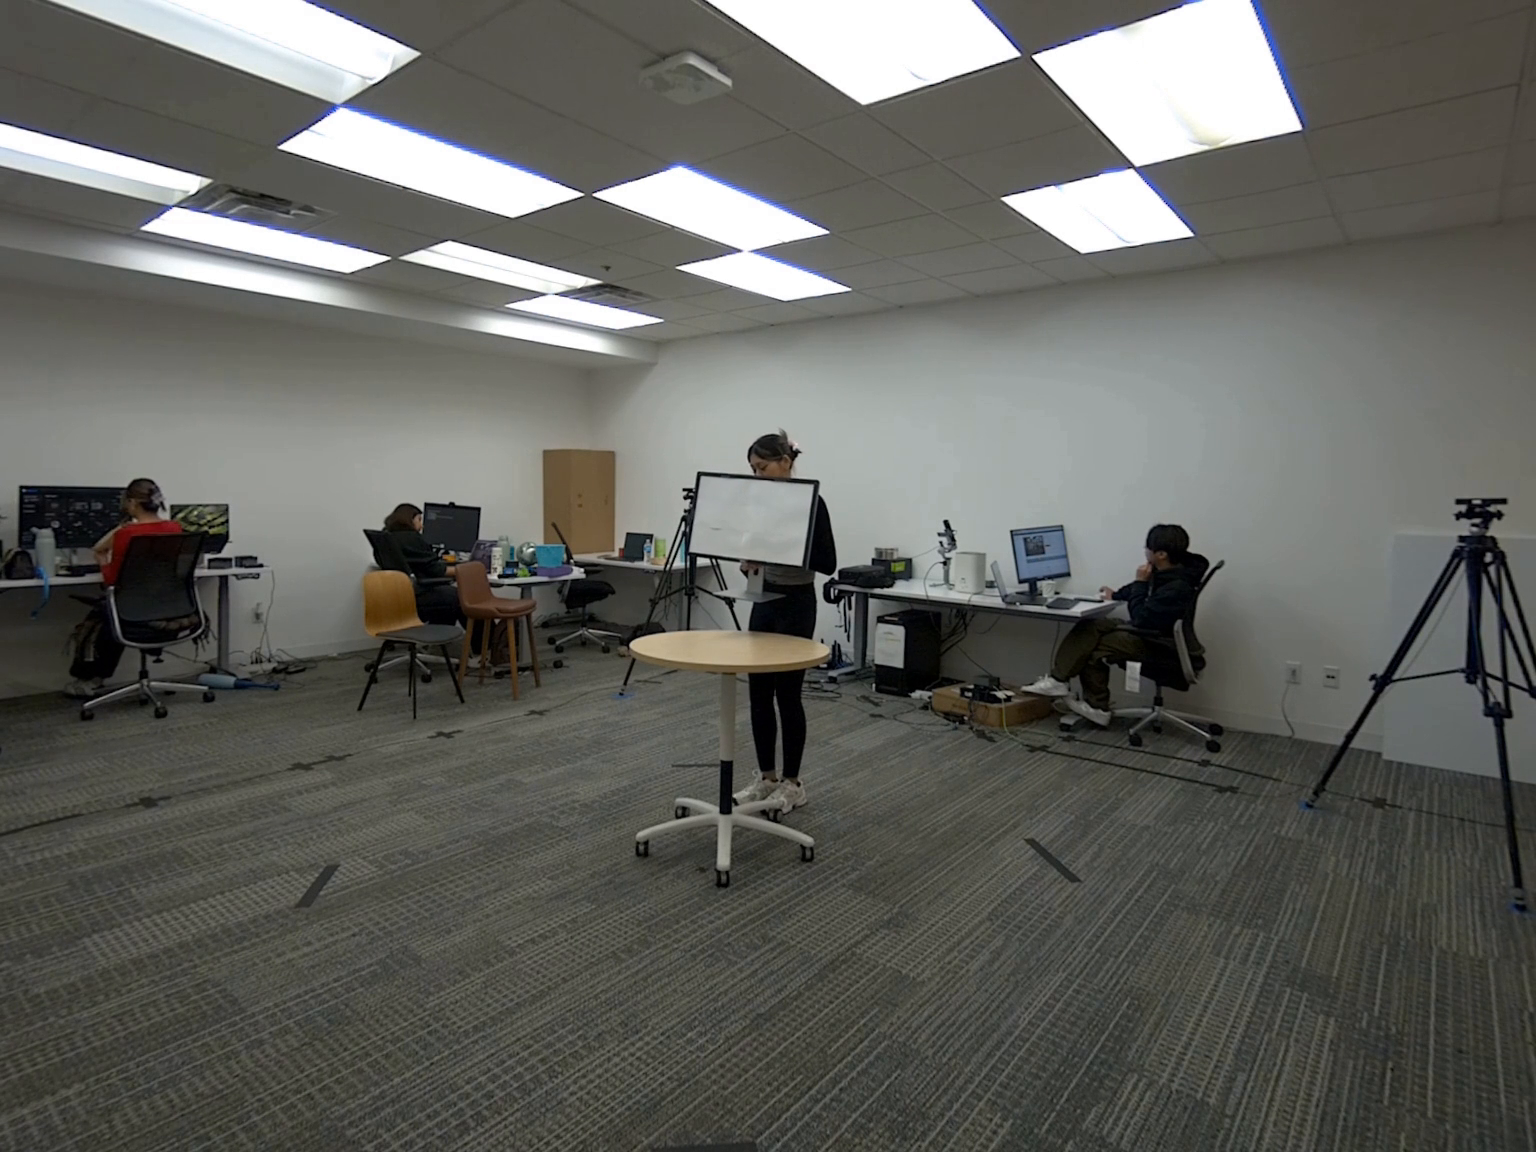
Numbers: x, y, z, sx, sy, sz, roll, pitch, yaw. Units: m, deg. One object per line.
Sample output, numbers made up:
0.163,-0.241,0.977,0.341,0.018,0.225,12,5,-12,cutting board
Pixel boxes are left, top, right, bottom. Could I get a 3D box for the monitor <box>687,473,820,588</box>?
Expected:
-0.073,-0.162,3.531,0.554,0.519,0.183,7,9,26,monitor
